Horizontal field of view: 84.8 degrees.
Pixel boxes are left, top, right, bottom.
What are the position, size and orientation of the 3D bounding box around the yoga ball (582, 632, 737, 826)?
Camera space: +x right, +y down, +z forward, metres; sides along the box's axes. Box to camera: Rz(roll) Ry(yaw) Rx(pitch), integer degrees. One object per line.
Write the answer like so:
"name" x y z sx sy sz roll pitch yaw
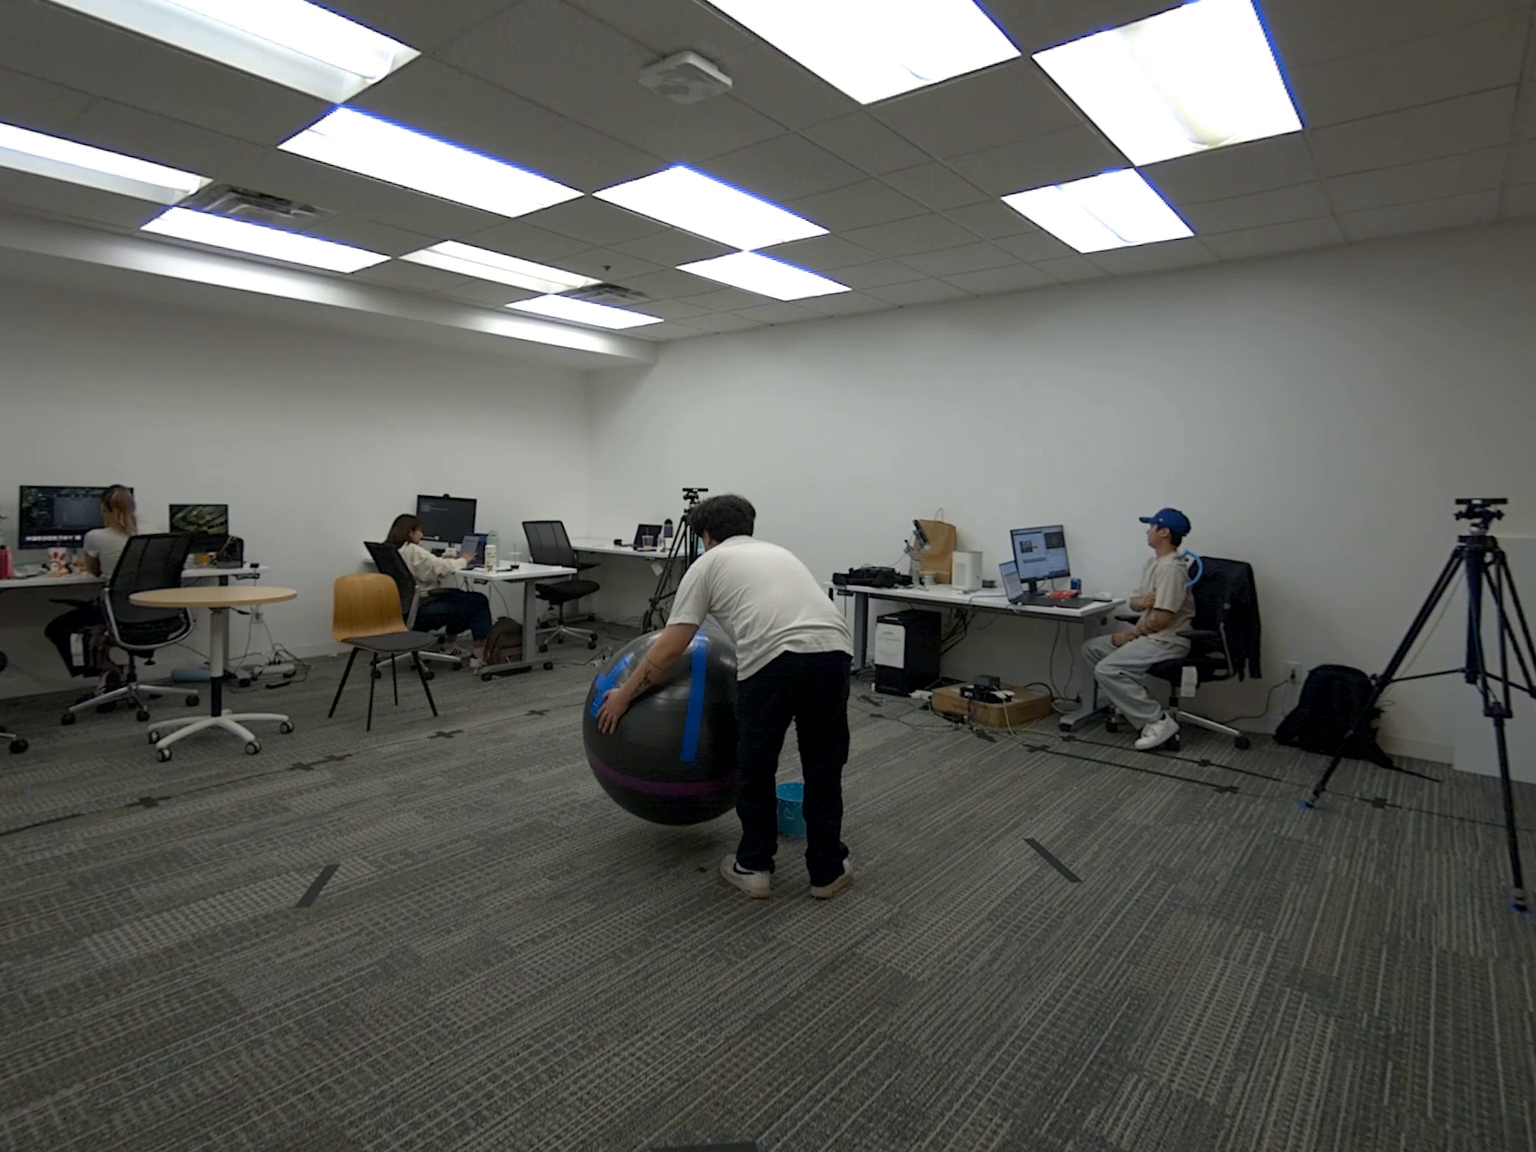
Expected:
"yoga ball" -0.356 0.586 3.358 0.757 0.755 0.762 1 4 -2
